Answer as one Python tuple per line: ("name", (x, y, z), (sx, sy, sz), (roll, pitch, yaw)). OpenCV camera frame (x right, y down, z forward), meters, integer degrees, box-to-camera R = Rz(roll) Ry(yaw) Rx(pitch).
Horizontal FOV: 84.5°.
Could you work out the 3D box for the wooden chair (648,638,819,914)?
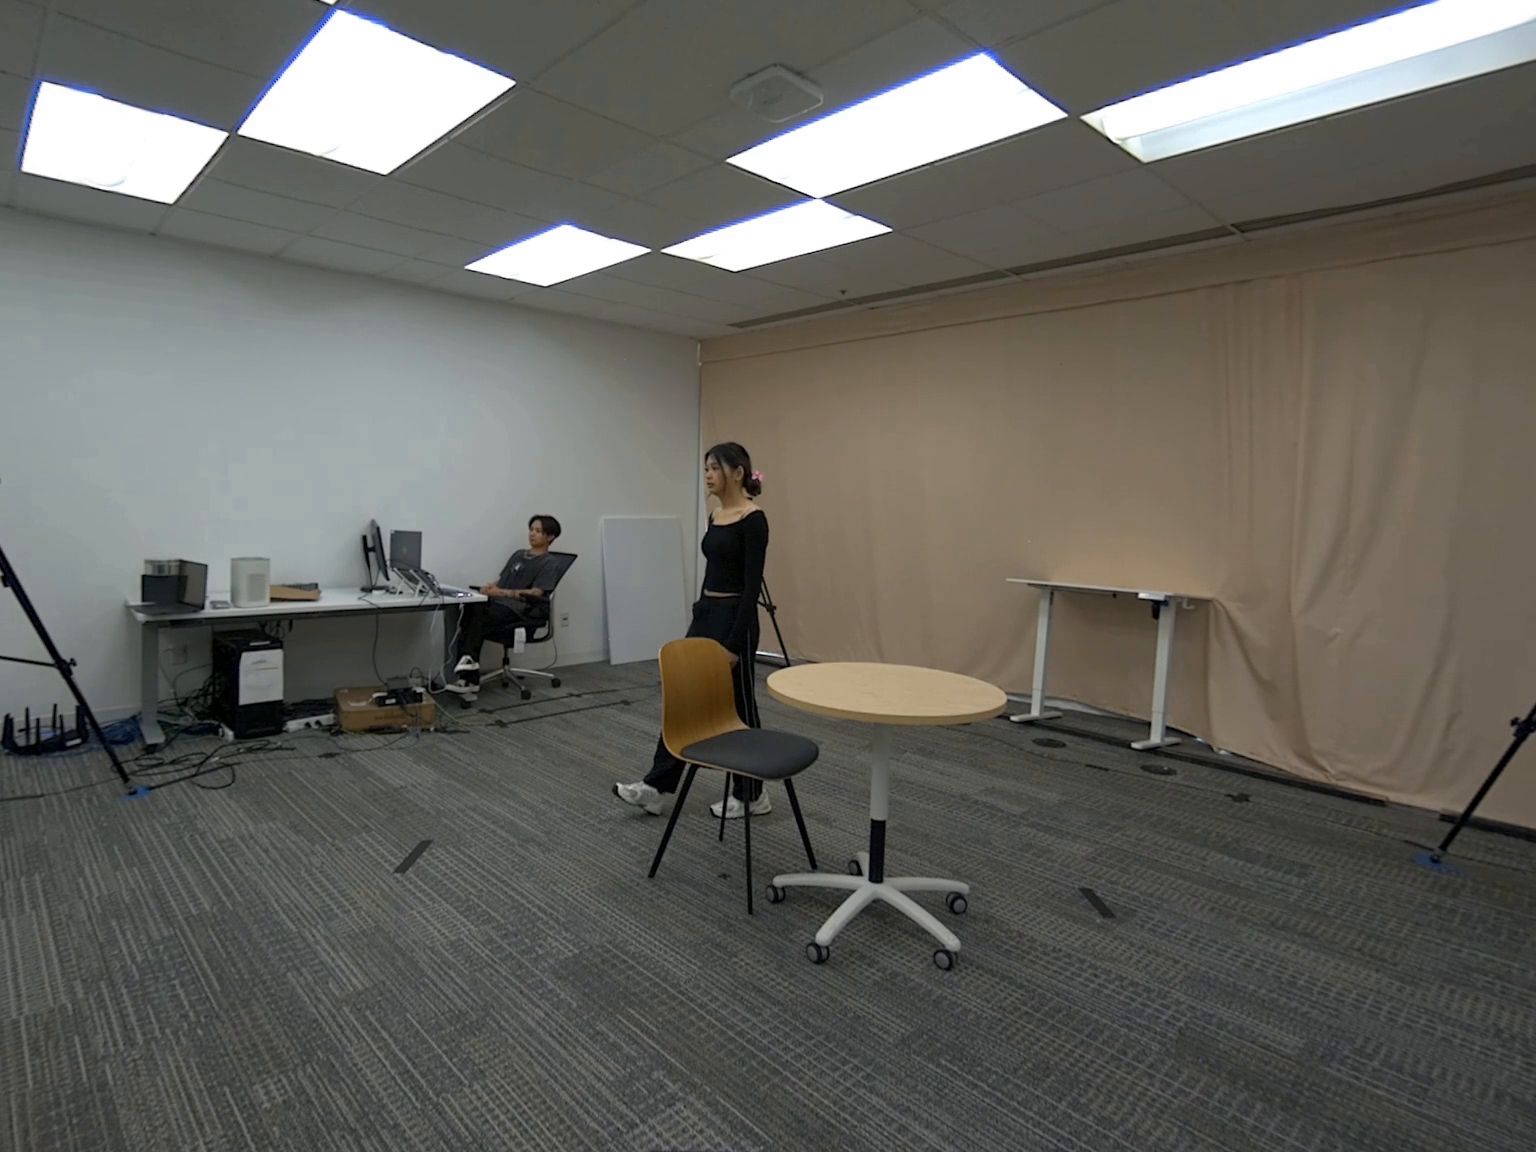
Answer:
("wooden chair", (-0.116, 0.681, 3.090), (0.534, 0.877, 0.468), (-2, 1, 35))
